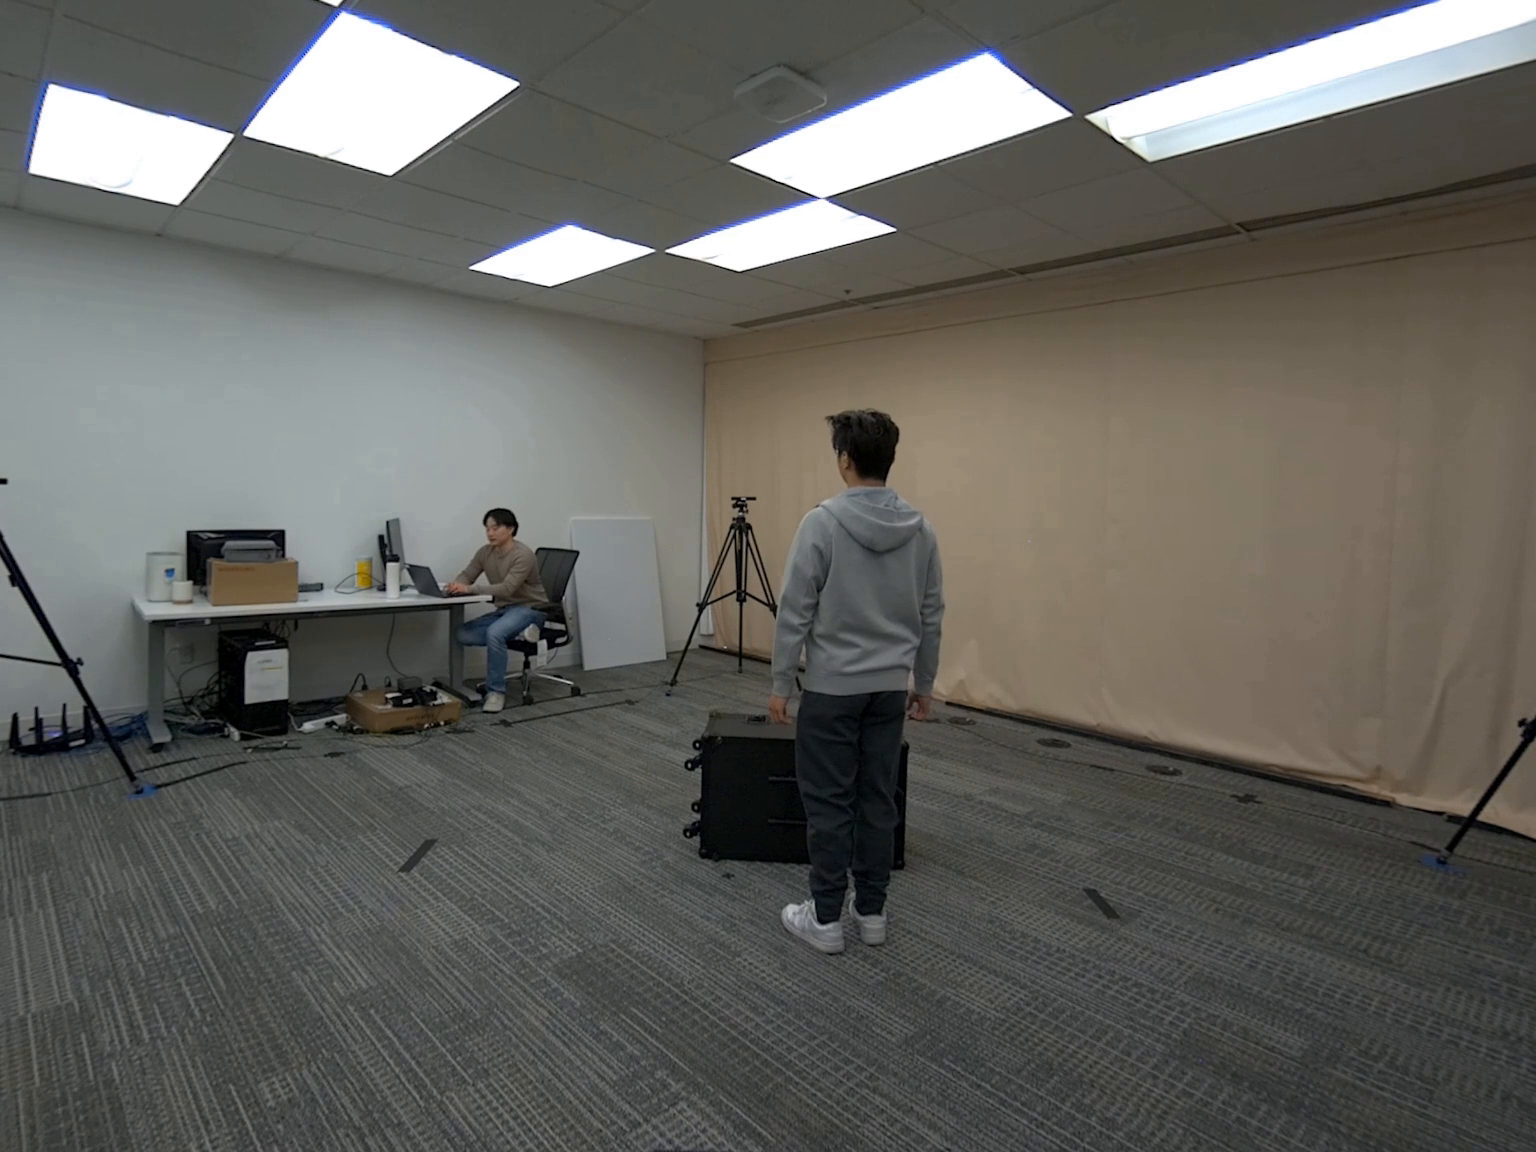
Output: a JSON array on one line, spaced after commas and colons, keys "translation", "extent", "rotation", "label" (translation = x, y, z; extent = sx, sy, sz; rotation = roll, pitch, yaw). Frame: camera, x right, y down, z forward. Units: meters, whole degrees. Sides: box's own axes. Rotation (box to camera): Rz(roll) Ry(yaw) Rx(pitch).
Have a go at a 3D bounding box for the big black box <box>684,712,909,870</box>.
[{"translation": [0.097, 0.846, 3.371], "extent": [0.865, 0.520, 0.396], "rotation": [2, 4, 4], "label": "big black box"}]
